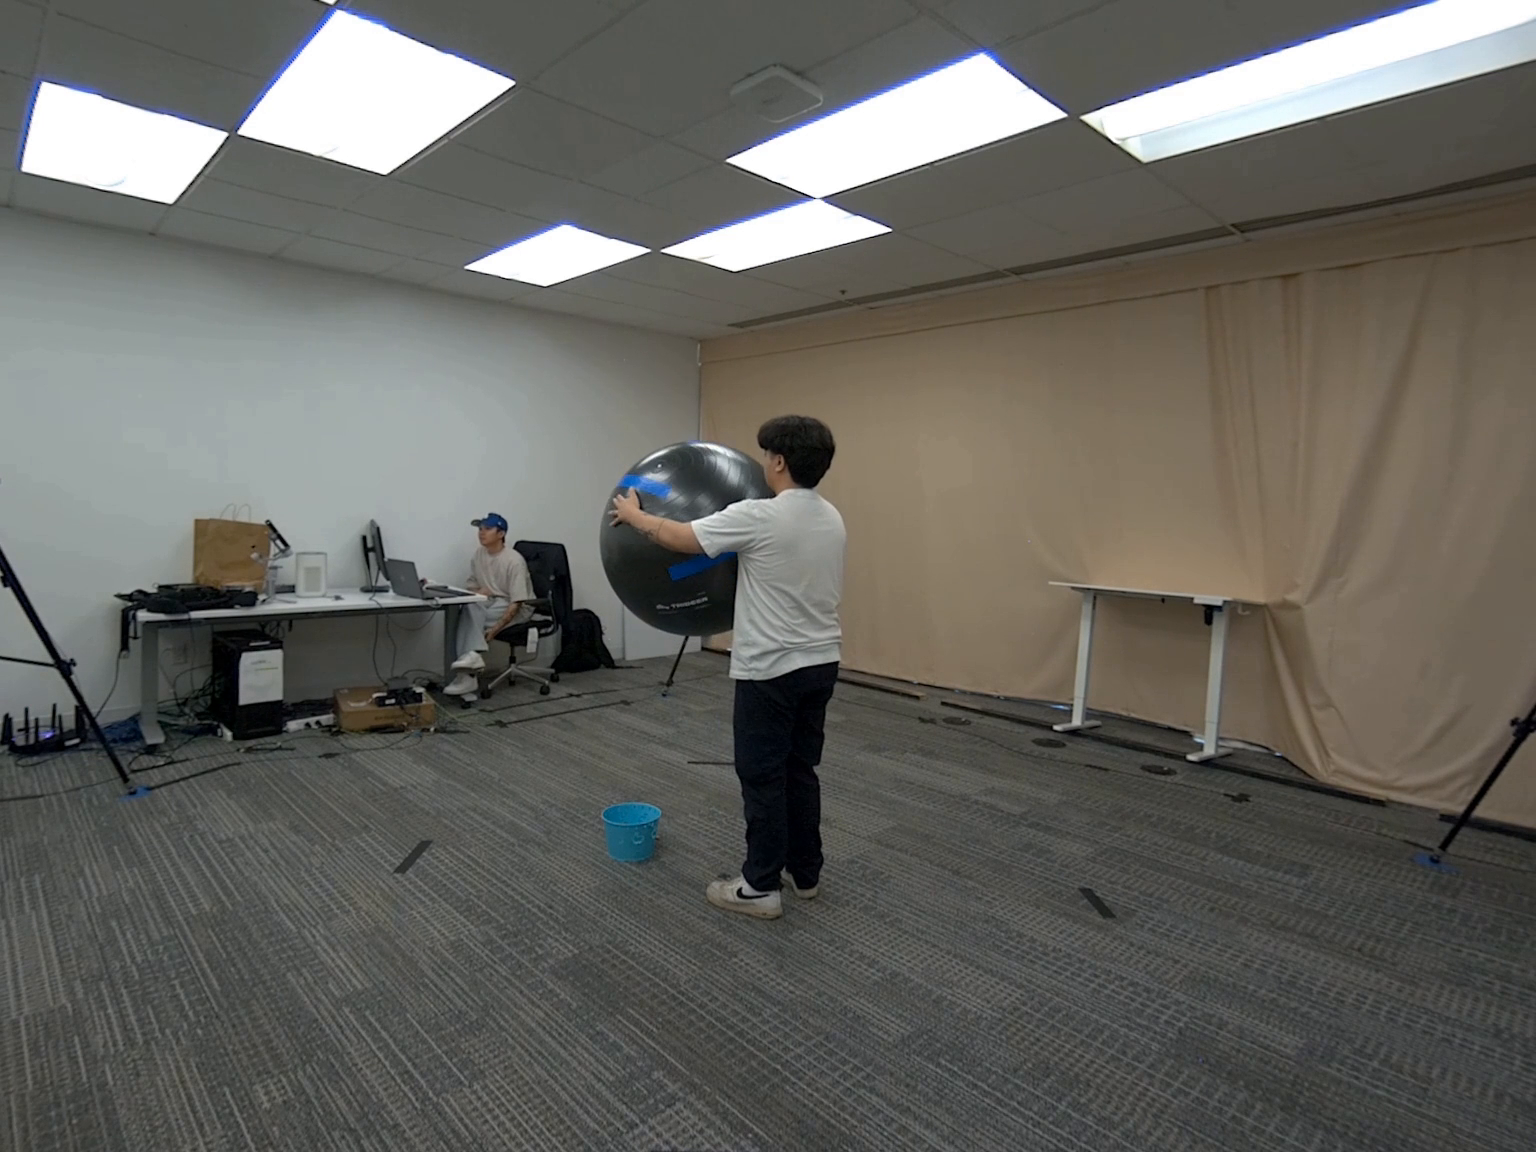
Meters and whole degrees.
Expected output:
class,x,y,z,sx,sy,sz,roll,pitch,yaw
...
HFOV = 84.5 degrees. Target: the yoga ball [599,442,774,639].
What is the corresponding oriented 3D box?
class,x,y,z,sx,sy,sz,roll,pitch,yaw
yoga ball,-0.280,-0.136,3.295,0.757,0.756,0.760,1,4,-1
